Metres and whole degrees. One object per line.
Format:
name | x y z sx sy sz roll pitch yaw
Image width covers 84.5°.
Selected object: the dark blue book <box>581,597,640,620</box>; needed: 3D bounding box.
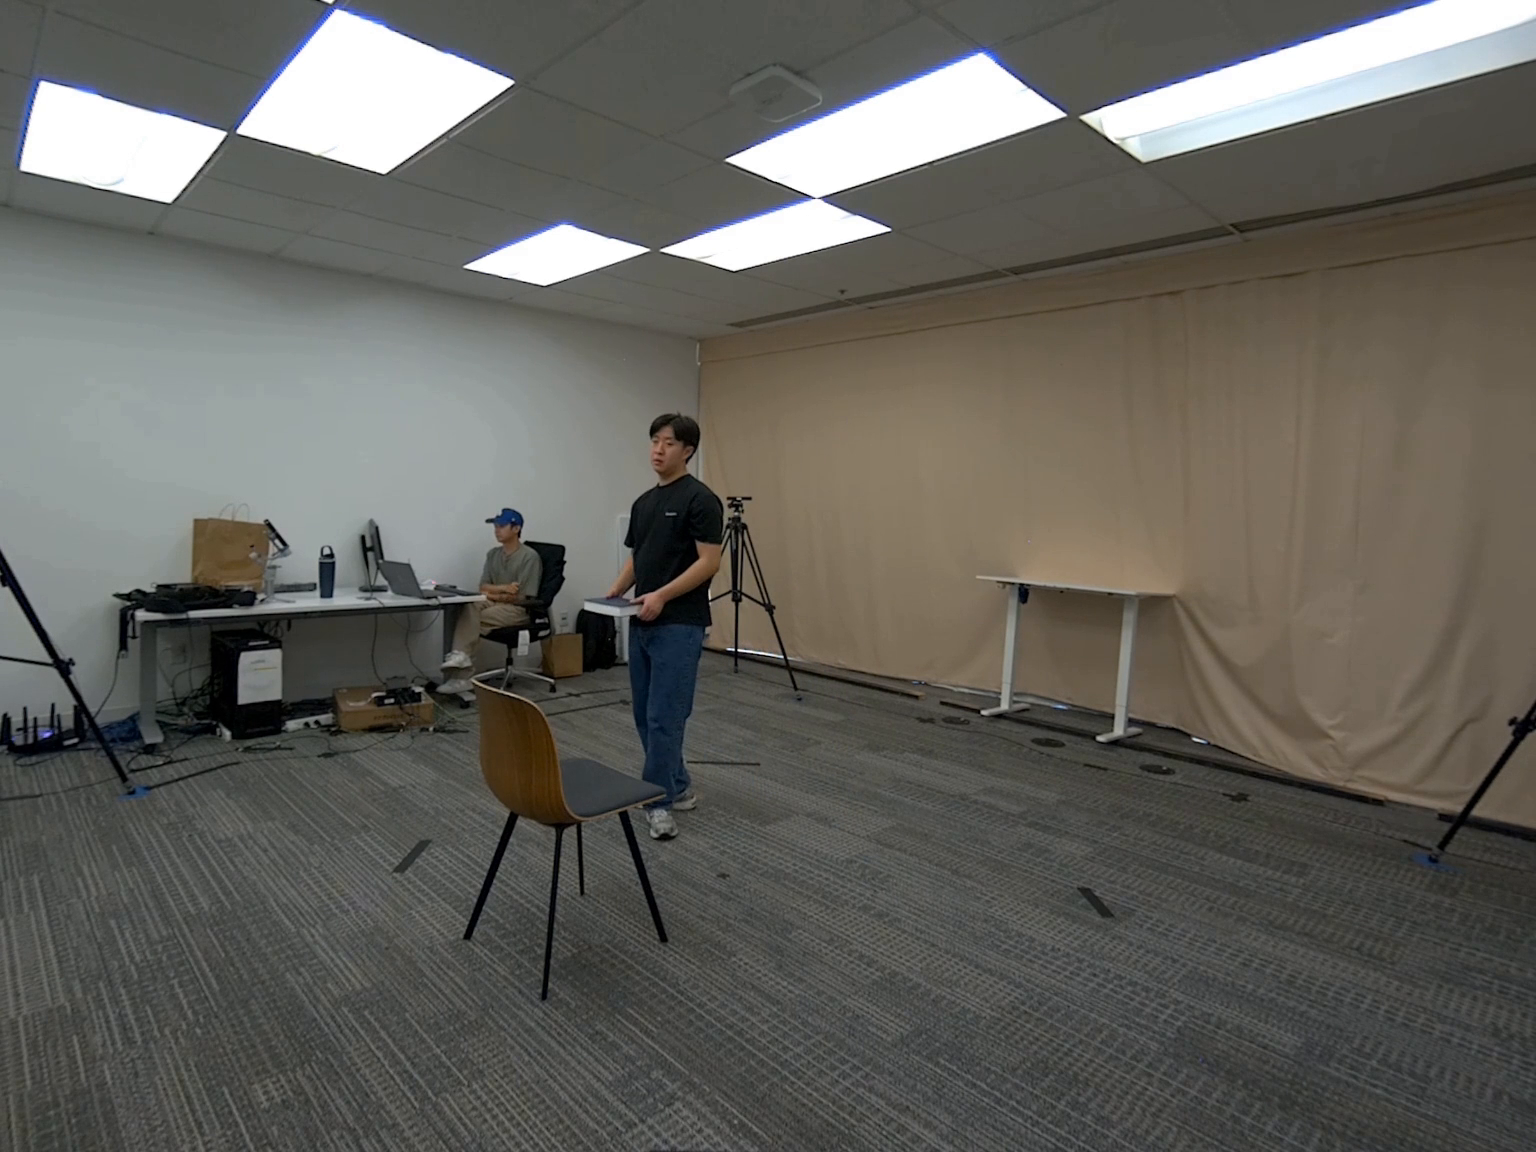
dark blue book | -0.623 0.127 3.466 0.251 0.045 0.160 8 10 41
